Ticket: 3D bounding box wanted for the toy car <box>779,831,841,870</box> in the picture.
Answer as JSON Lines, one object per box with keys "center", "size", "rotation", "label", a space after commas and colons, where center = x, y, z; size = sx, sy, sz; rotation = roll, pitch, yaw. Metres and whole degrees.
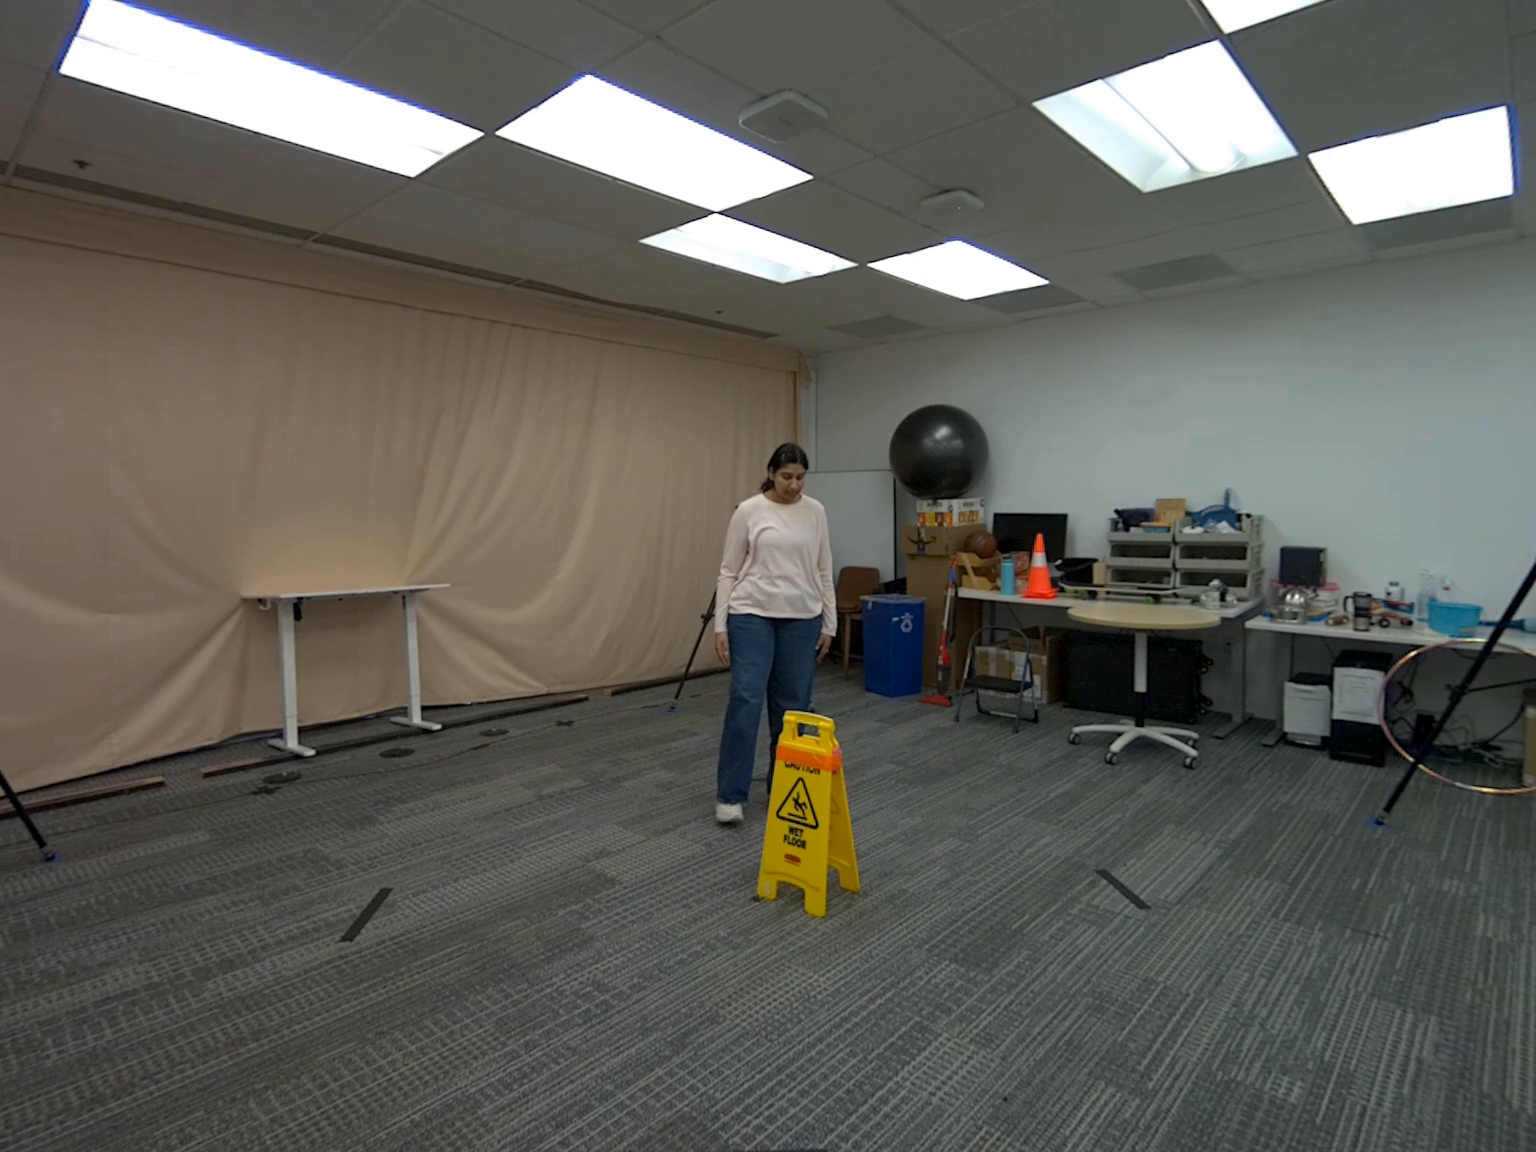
{"center": [0.164, 1.074, 3.329], "size": [0.134, 0.083, 0.246], "rotation": [2, -7, 32], "label": "toy car"}
